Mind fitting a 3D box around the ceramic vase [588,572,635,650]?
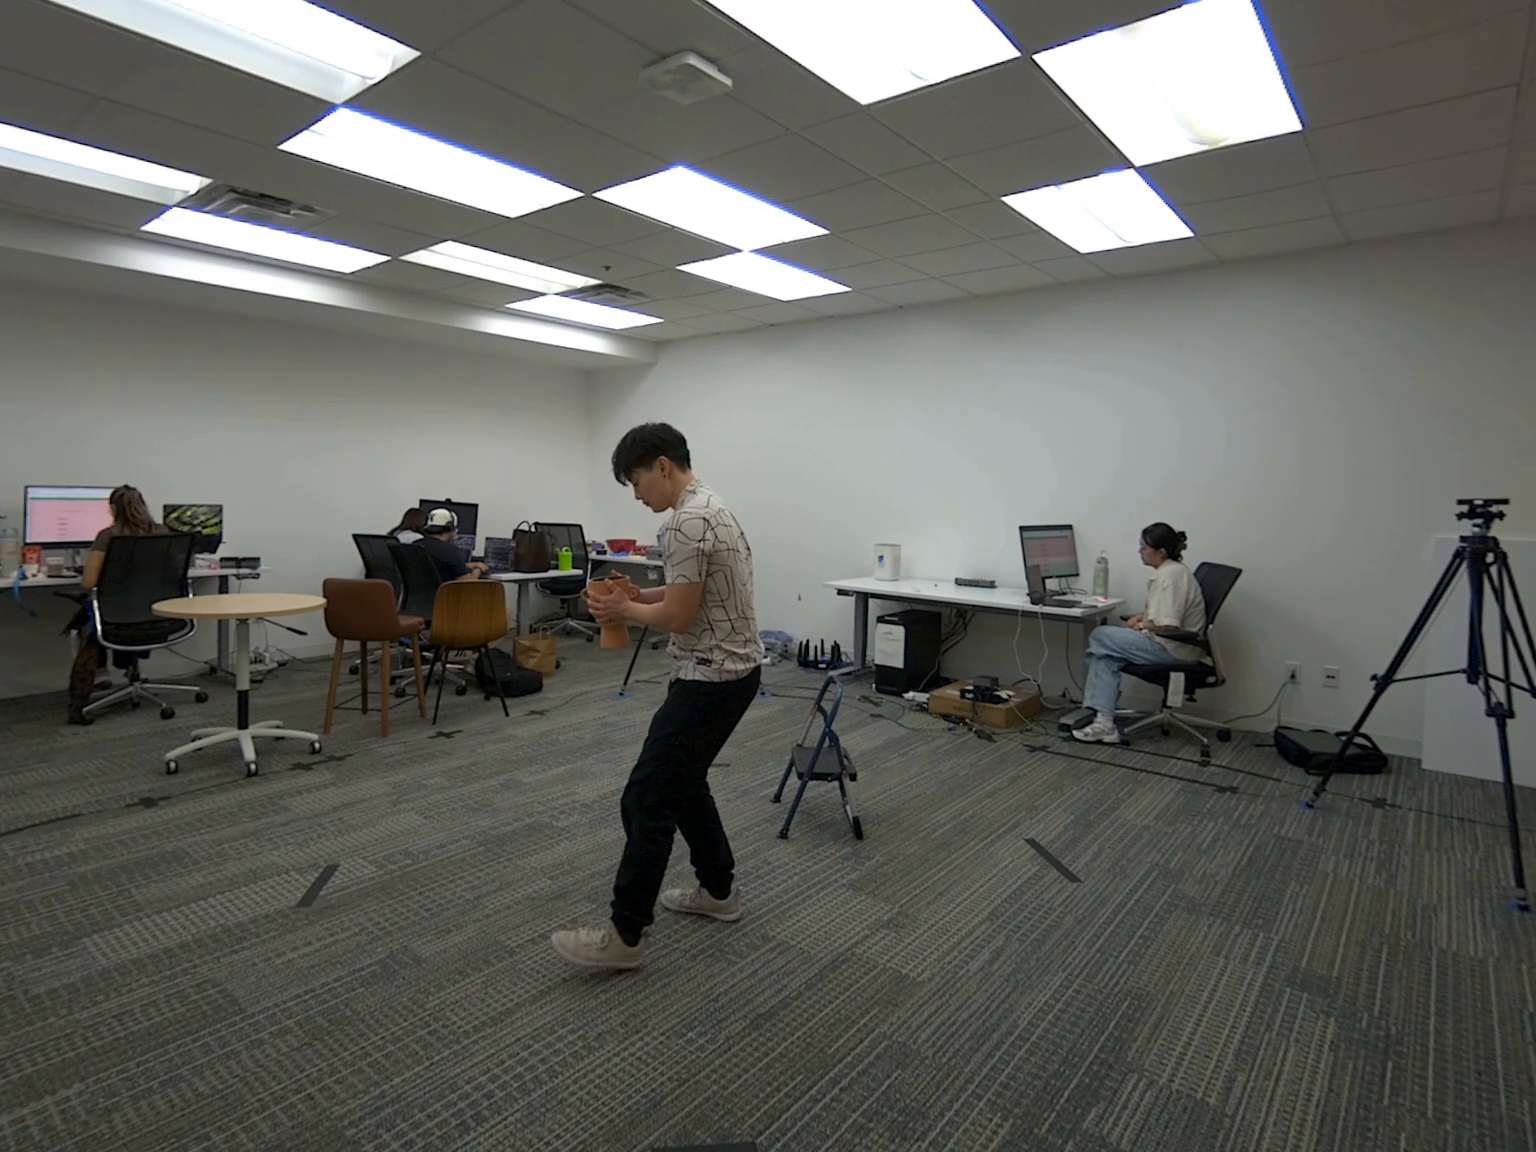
[{"bbox_3d":[-0.512,0.119,2.736,0.164,0.218,0.131,1,8,43],"label":"ceramic vase"}]
